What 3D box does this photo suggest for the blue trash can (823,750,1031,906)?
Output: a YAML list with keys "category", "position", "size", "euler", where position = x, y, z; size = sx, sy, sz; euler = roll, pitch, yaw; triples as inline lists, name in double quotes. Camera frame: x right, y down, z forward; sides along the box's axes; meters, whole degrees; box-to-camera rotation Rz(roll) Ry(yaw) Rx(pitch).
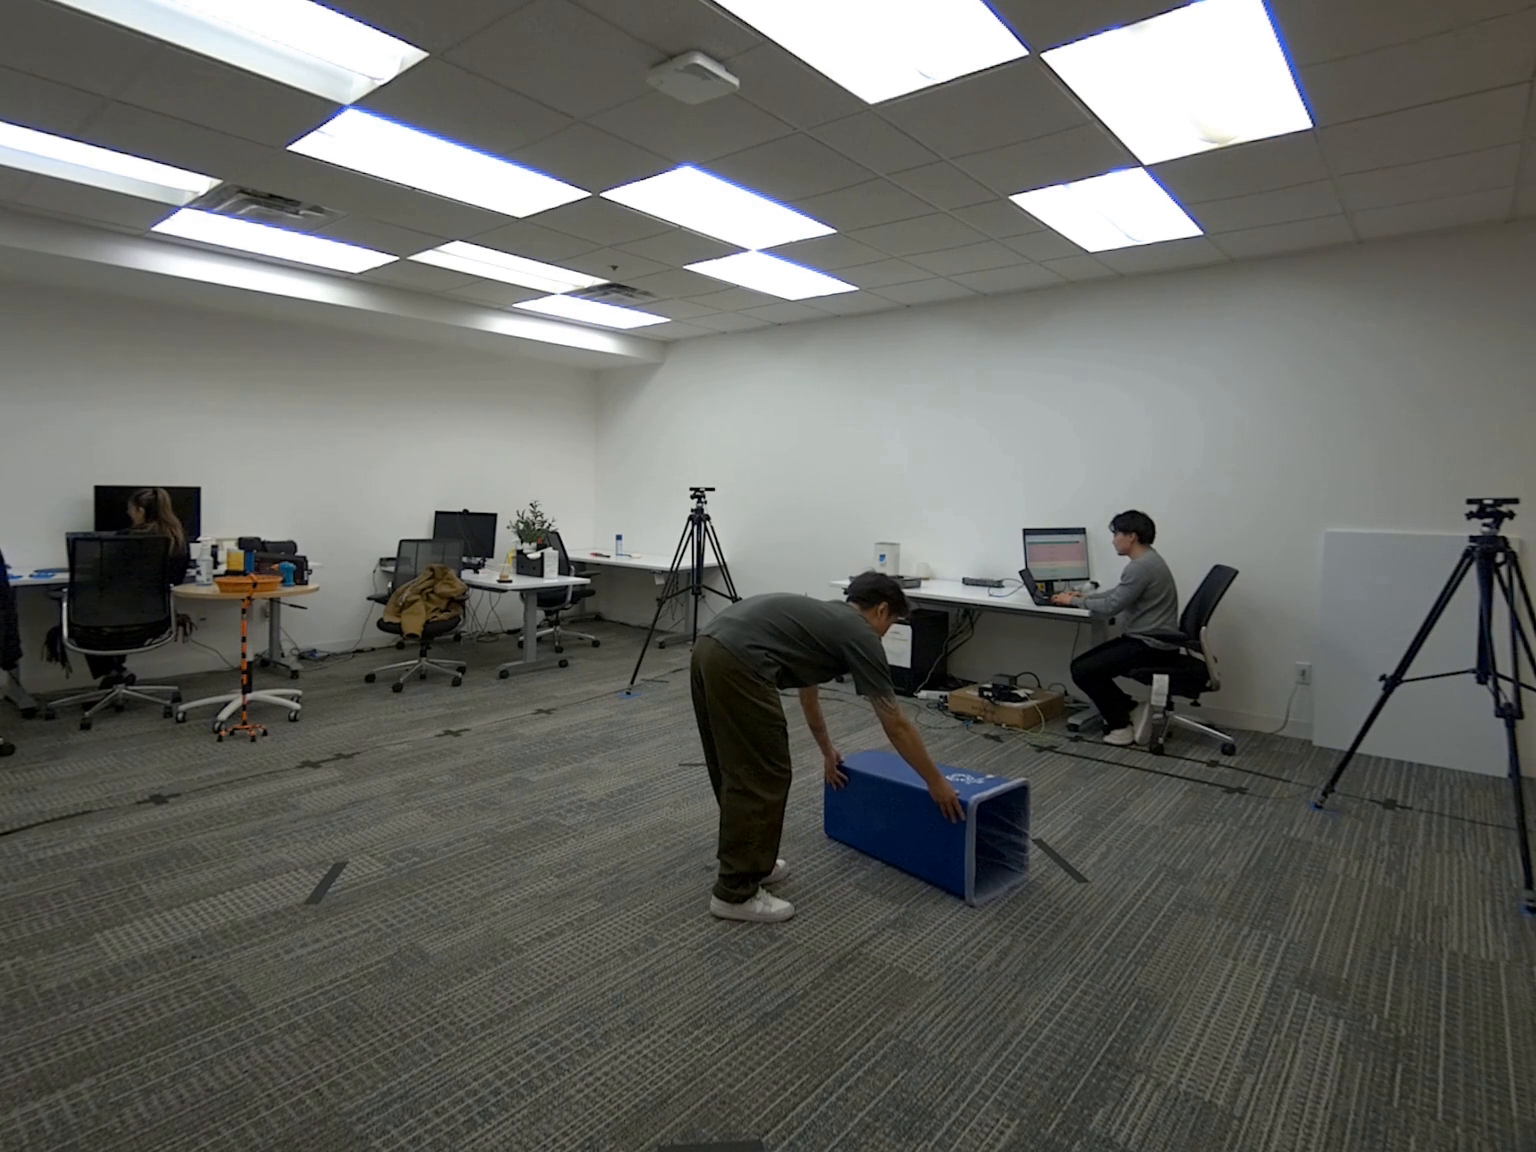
- category: "blue trash can"
  position: [0.571, 0.897, 3.242]
  size: [0.366, 0.373, 0.737]
  euler: [-3, 5, -42]
